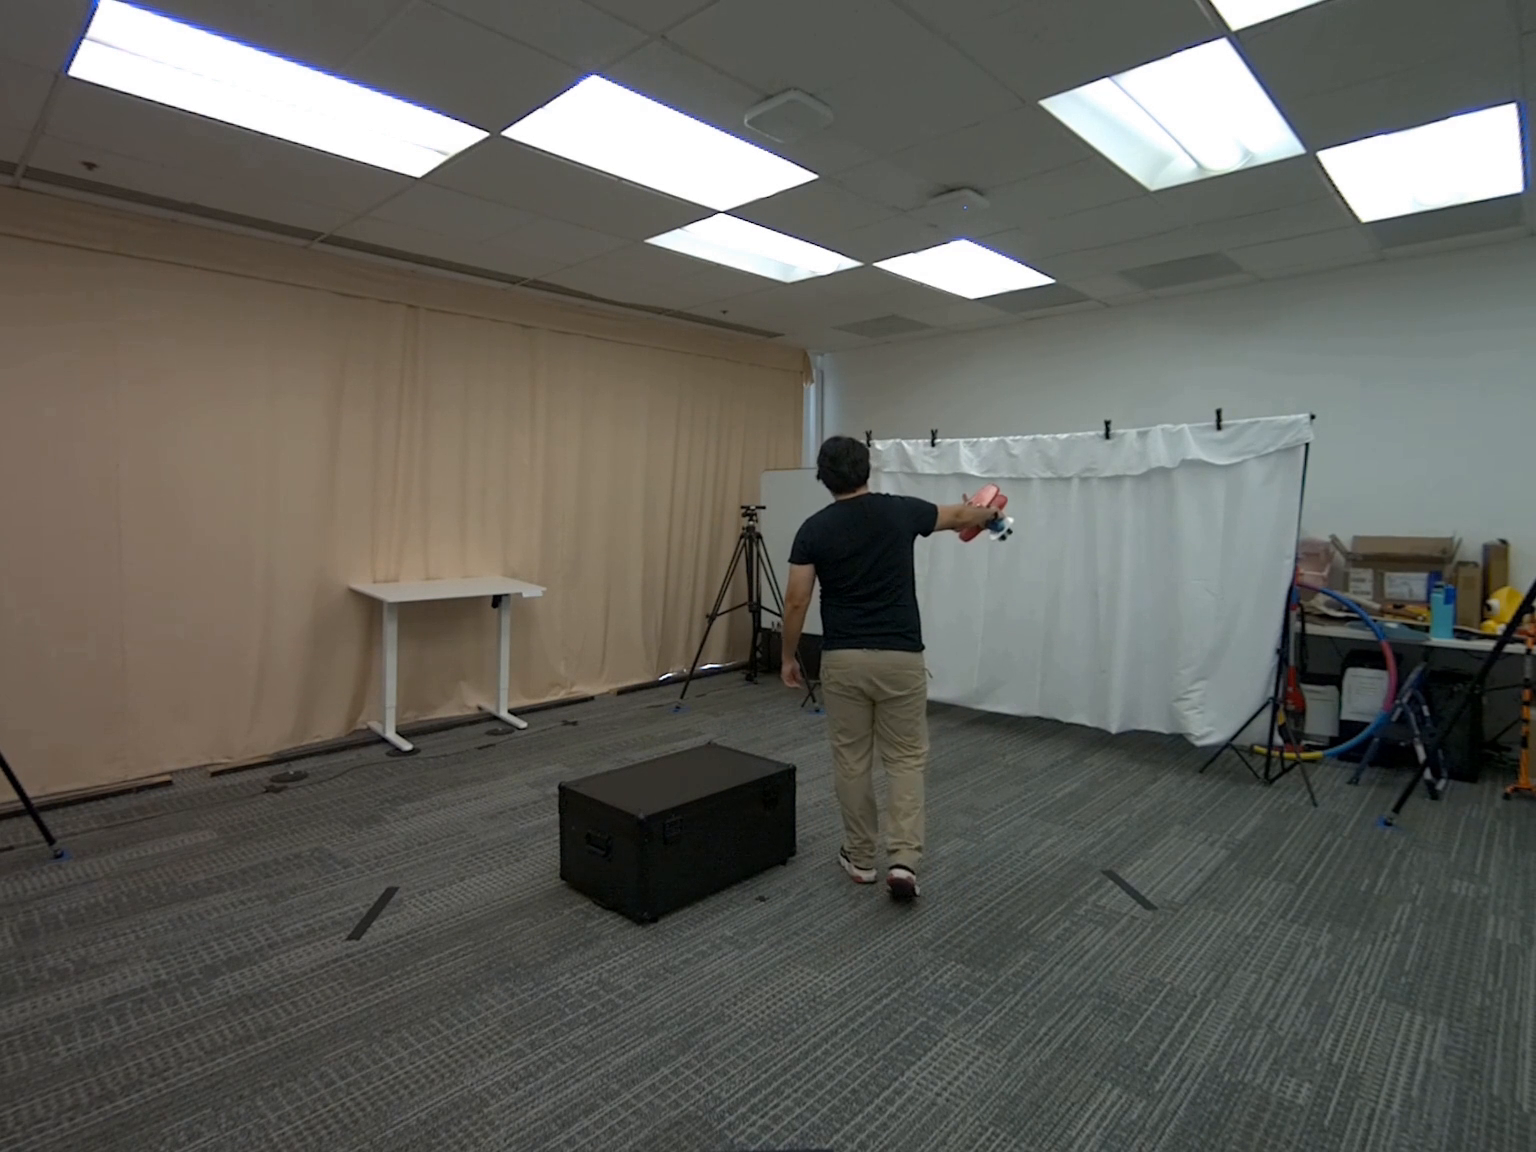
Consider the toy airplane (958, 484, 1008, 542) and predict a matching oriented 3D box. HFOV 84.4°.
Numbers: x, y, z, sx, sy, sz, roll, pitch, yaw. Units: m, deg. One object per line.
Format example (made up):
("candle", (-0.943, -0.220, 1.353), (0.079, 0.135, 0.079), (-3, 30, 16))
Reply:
("toy airplane", (0.929, -0.251, 3.529), (0.152, 0.251, 0.266), (41, -22, -23))
